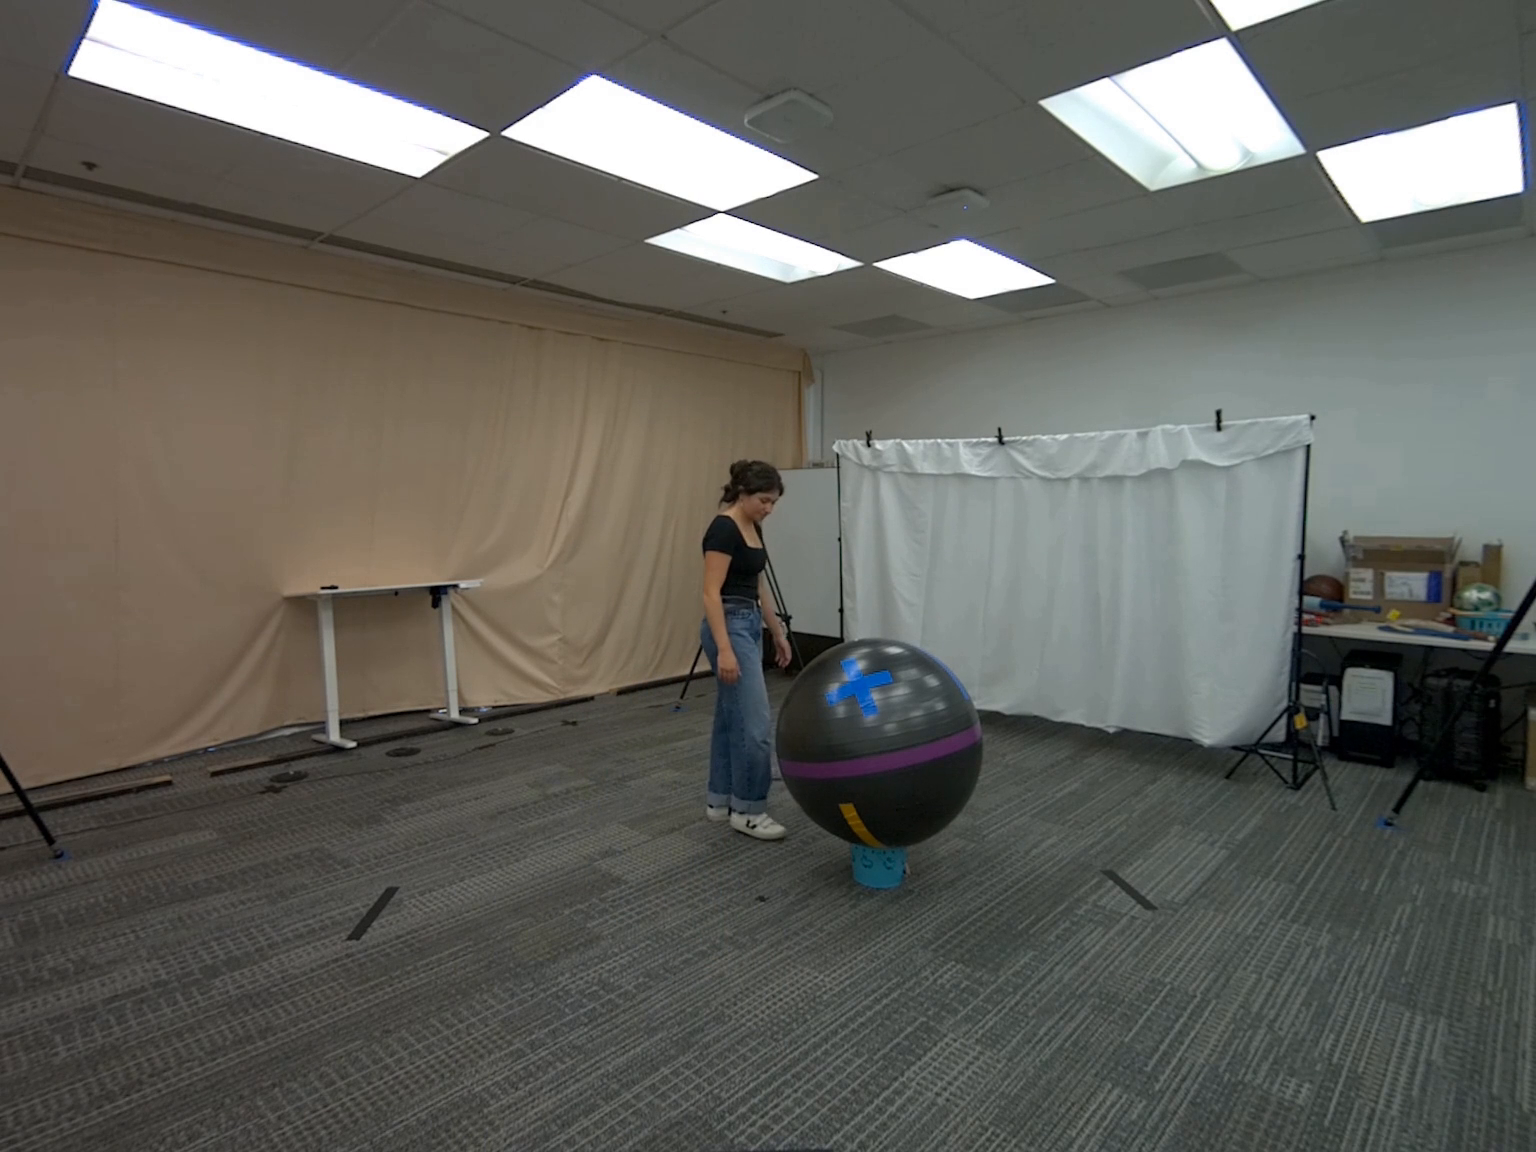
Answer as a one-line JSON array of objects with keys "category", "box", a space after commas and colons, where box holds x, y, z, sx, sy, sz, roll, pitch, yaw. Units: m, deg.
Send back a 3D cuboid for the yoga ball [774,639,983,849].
[{"category": "yoga ball", "box": [0.408, 0.613, 3.140, 0.757, 0.756, 0.760, 0, 4, -2]}]
